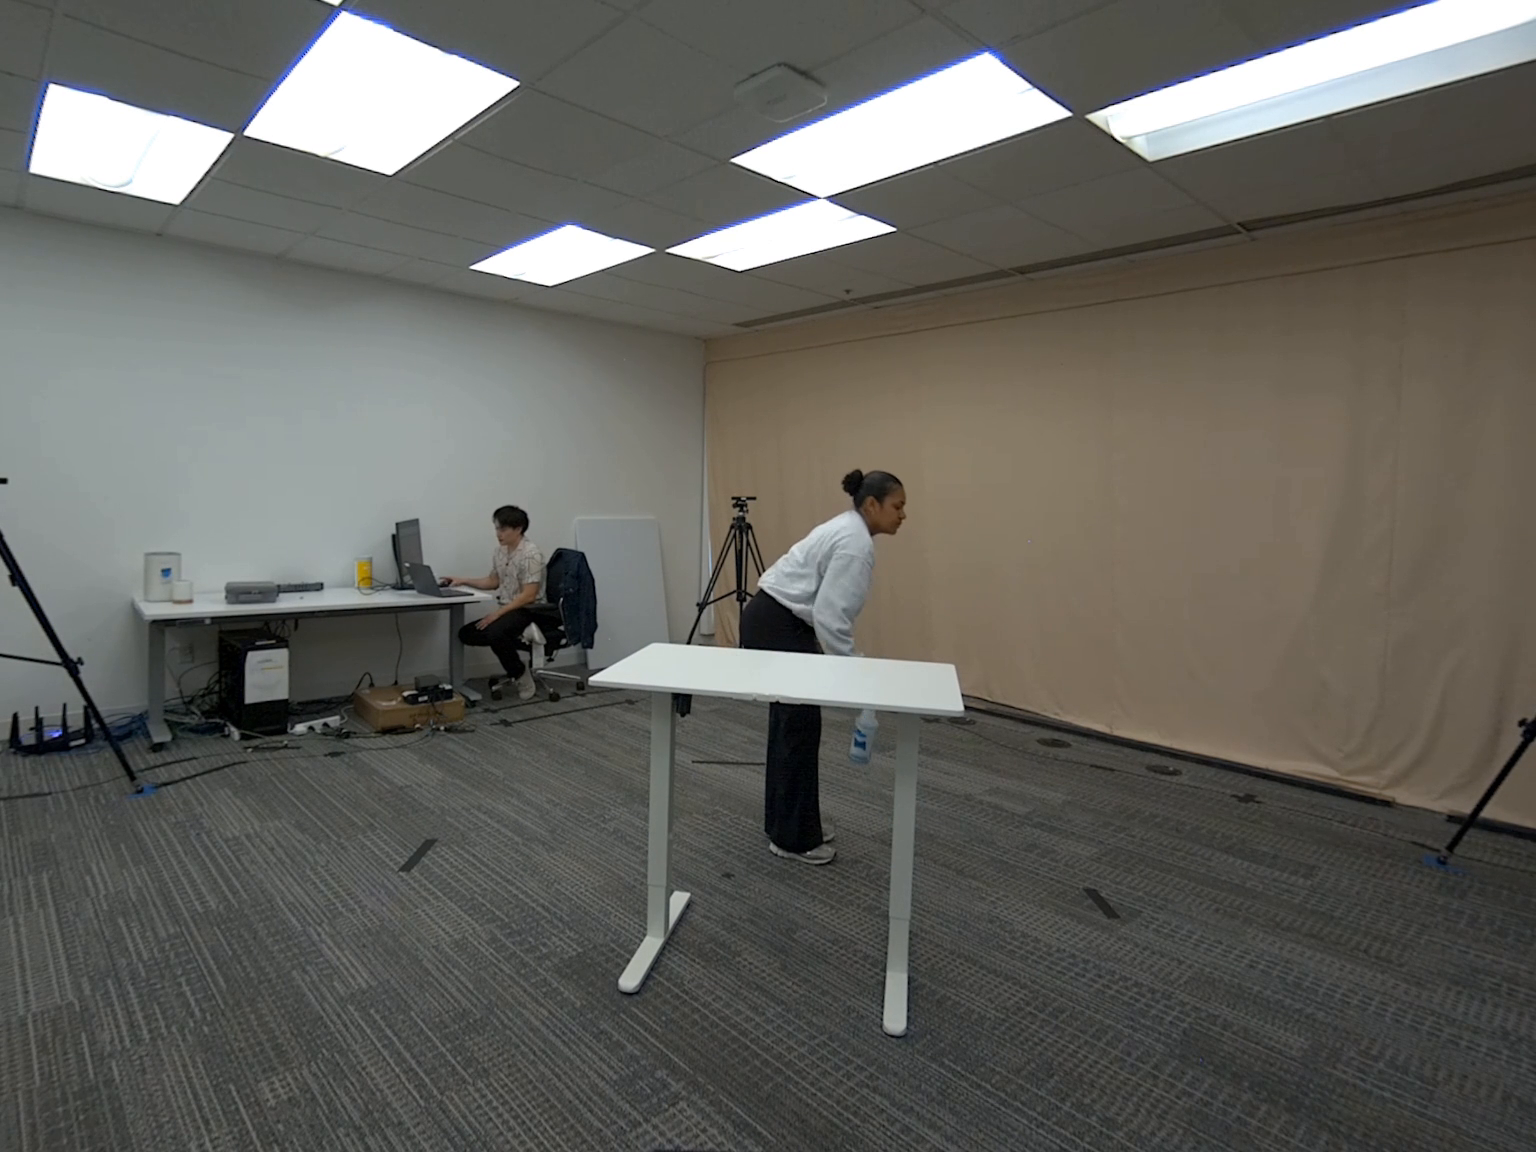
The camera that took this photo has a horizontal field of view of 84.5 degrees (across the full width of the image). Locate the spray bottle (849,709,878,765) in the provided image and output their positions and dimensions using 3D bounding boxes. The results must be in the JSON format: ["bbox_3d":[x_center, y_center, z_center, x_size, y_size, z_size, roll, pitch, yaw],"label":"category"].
[{"bbox_3d":[0.370,0.565,3.170,0.090,0.295,0.088,10,12,-3],"label":"spray bottle"}]
